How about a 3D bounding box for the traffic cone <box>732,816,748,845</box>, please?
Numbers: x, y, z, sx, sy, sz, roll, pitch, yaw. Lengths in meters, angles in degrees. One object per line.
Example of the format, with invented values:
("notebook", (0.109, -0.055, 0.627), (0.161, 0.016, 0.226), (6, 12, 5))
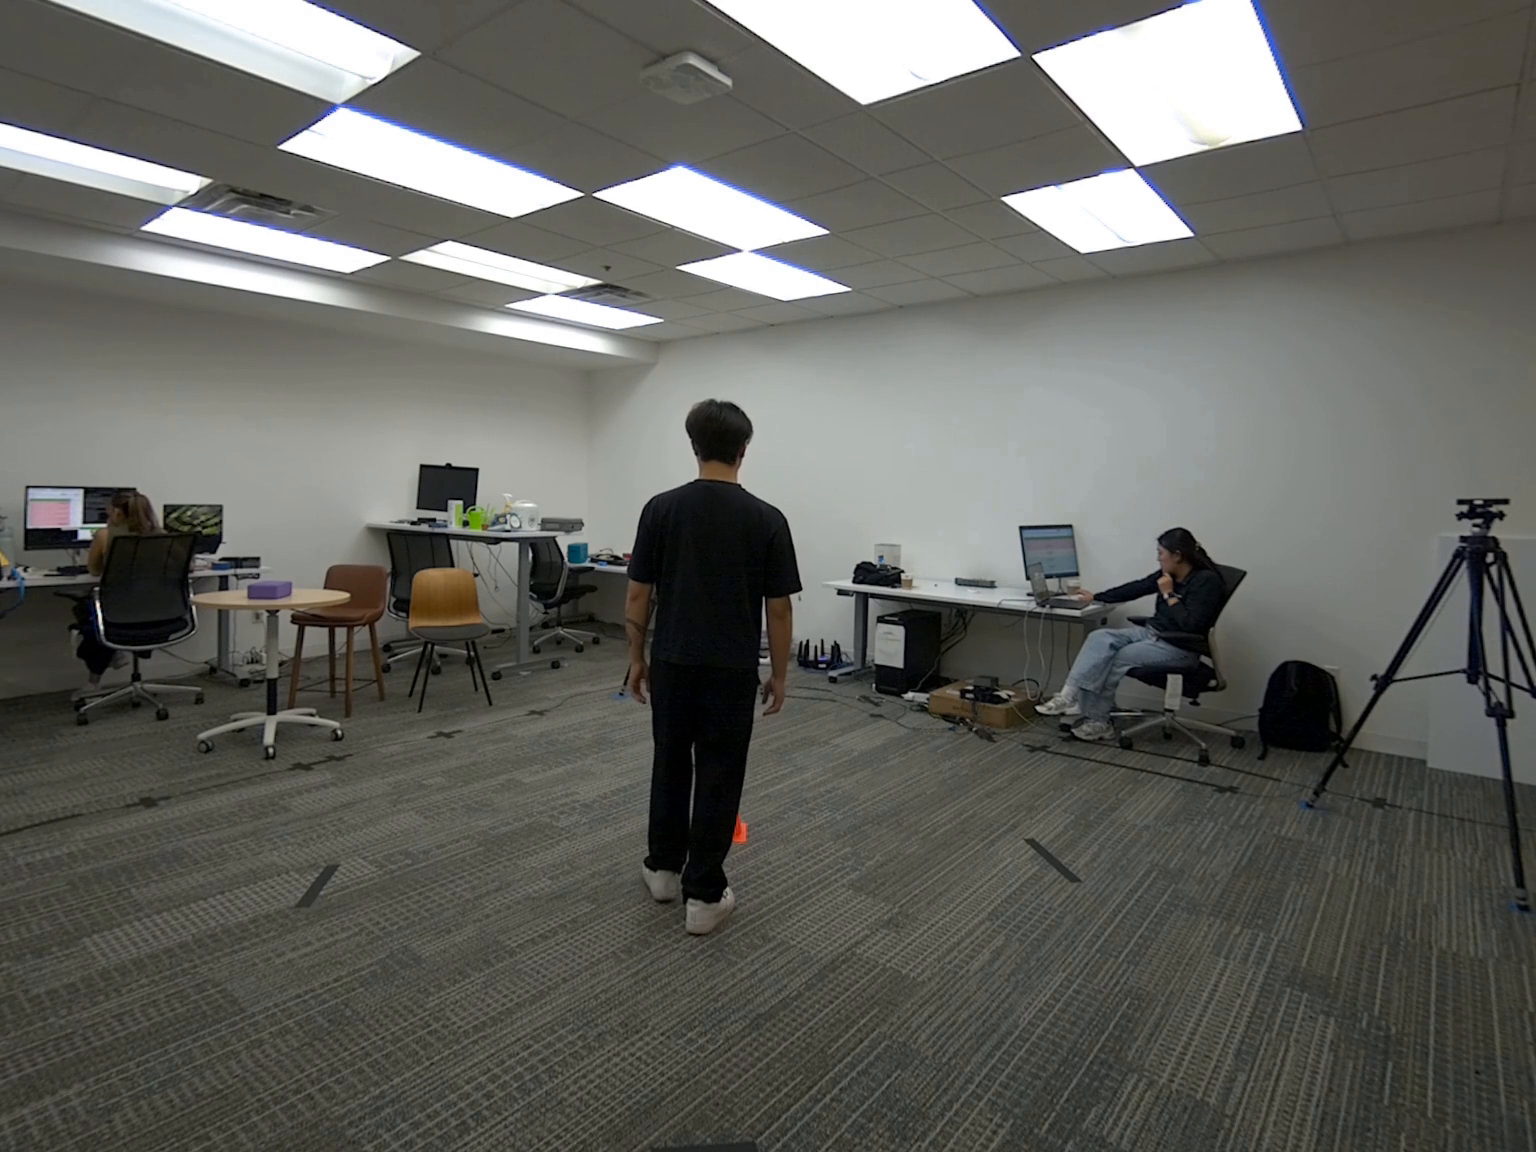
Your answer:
("traffic cone", (-0.176, 0.844, 3.439), (0.206, 0.382, 0.203), (3, 4, 4))
